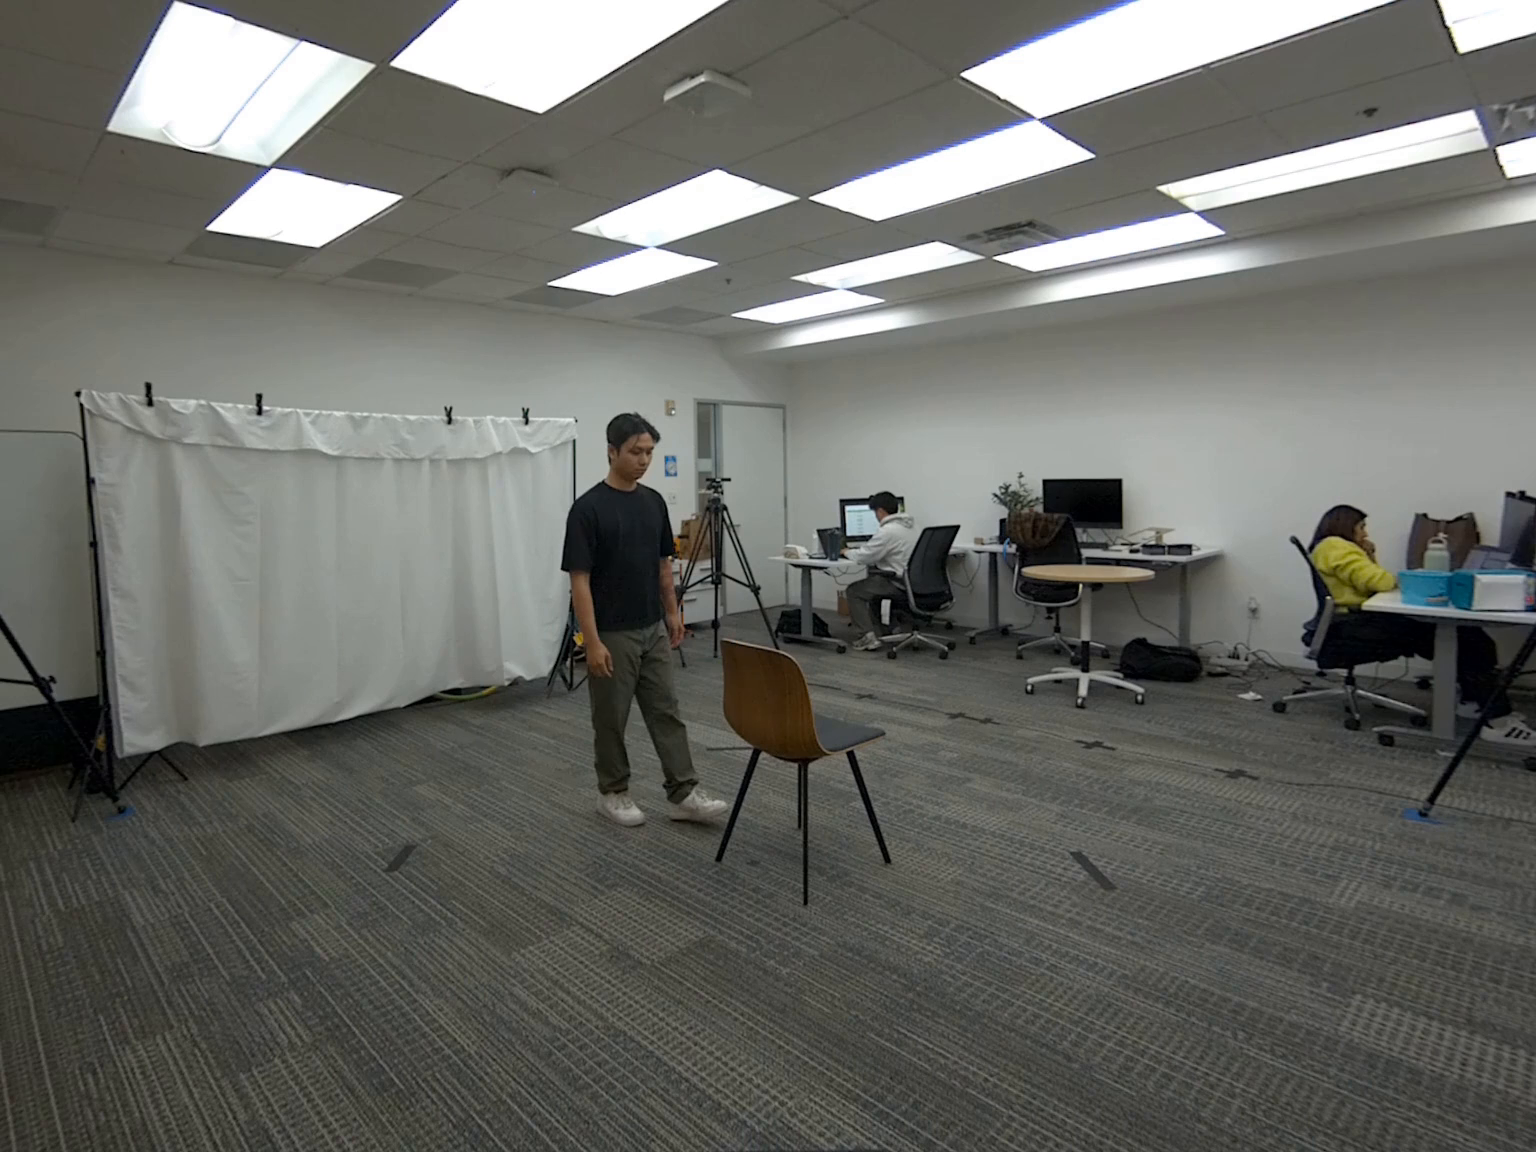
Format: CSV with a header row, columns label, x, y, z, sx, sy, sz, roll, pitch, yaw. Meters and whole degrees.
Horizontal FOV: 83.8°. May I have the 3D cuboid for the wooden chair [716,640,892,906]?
label,x,y,z,sx,sy,sz,roll,pitch,yaw
wooden chair,0.128,0.617,3.068,0.511,0.872,0.493,-10,9,-42
